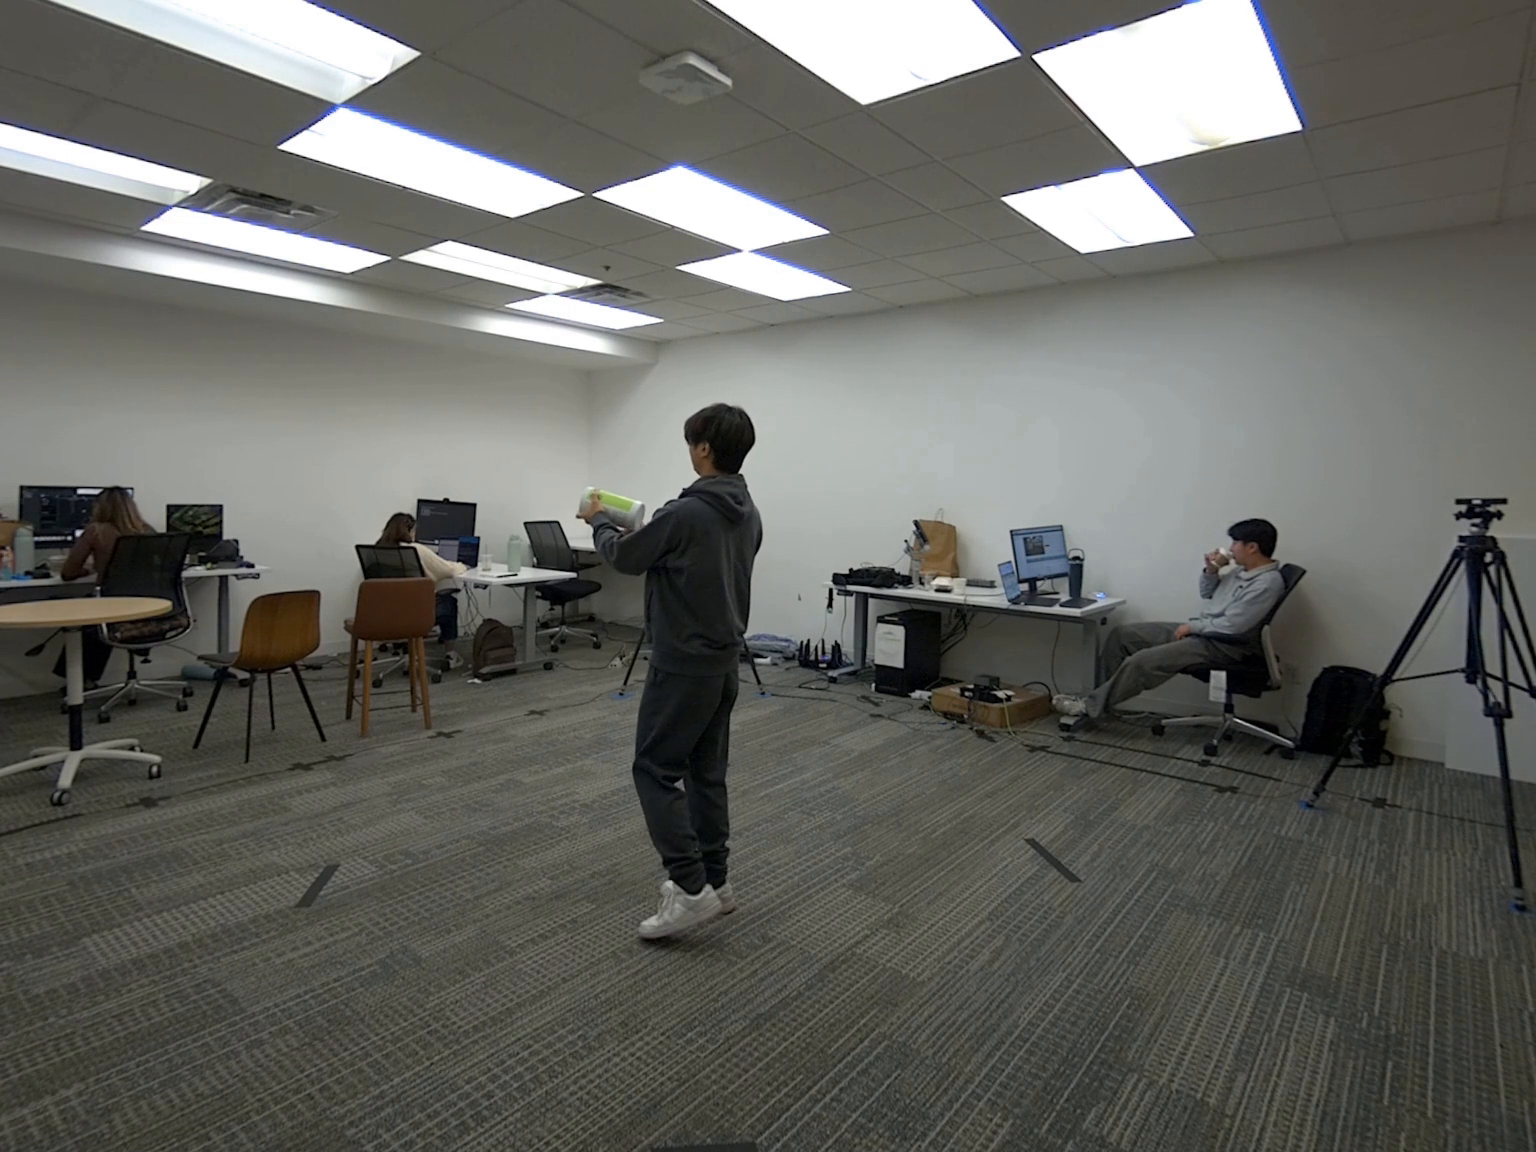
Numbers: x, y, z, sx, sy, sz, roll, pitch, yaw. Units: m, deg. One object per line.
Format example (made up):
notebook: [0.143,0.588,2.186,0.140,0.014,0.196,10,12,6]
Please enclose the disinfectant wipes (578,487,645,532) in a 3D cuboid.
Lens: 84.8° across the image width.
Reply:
disinfectant wipes: [-0.565,-0.243,3.031,0.220,0.117,0.117,16,6,8]
